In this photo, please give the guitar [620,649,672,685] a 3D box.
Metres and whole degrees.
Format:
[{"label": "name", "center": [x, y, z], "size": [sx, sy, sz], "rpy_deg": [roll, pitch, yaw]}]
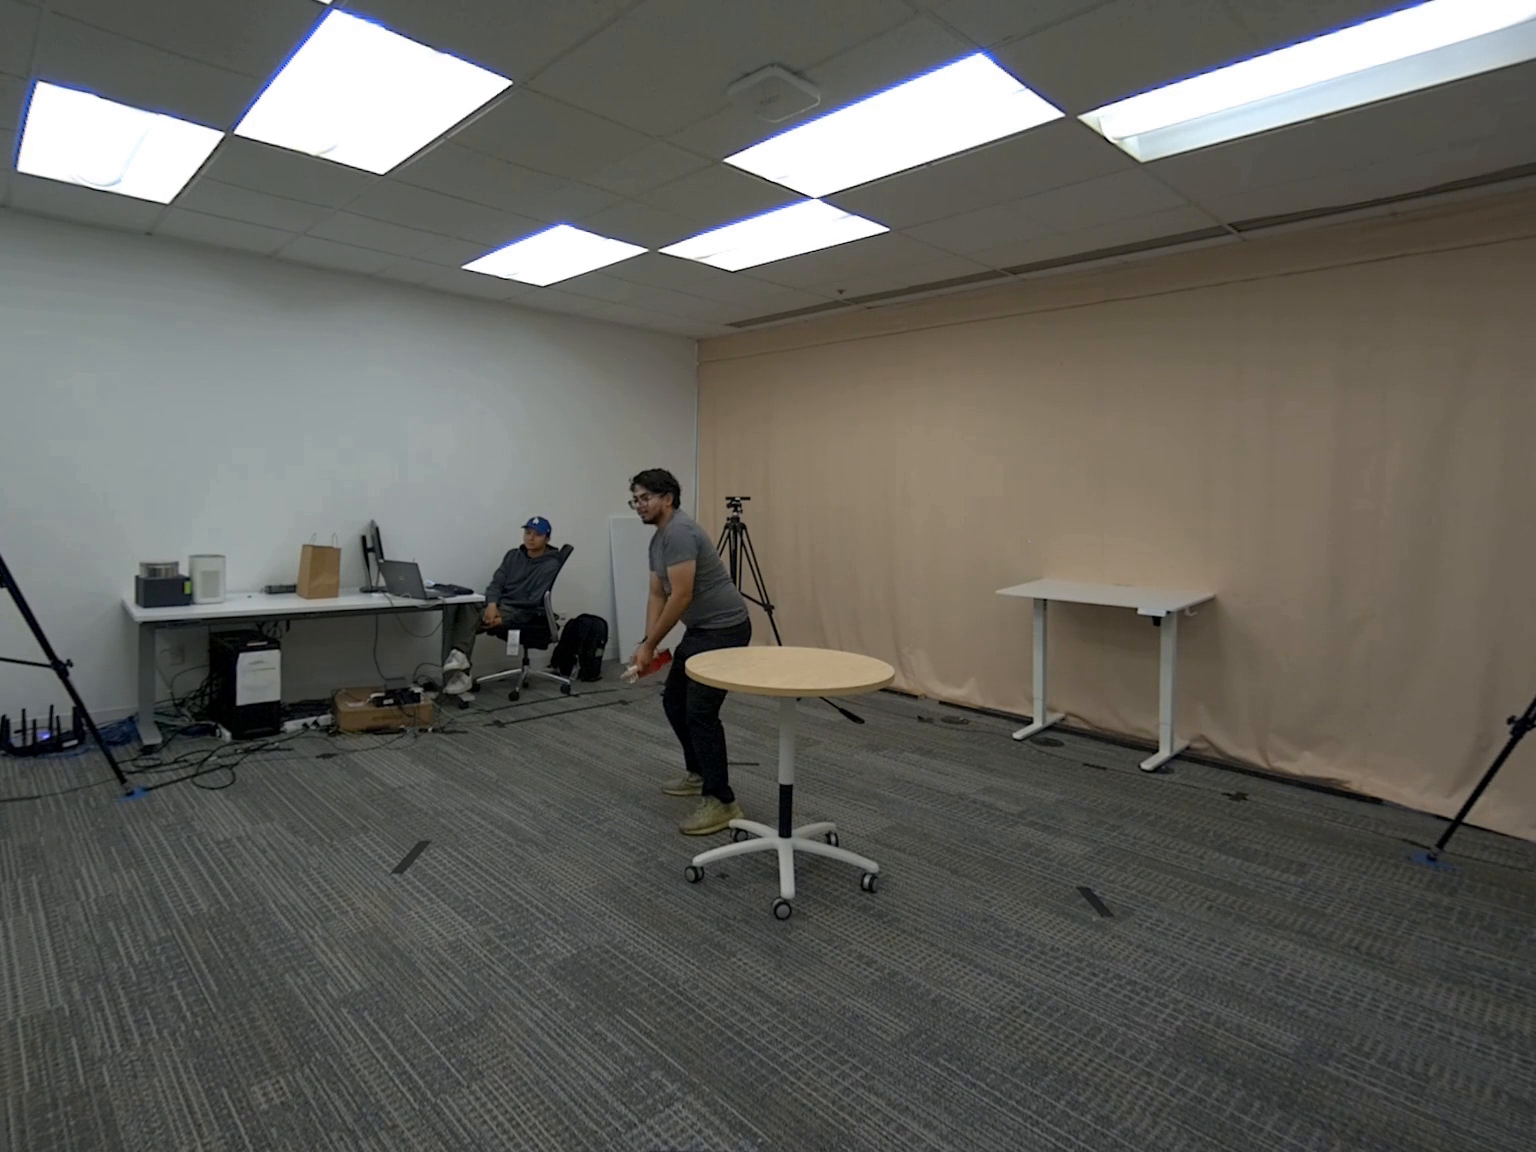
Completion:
[{"label": "guitar", "center": [-0.588, 0.418, 3.681], "size": [0.195, 0.070, 0.494], "rpy_deg": [-17, 3, 17]}]
